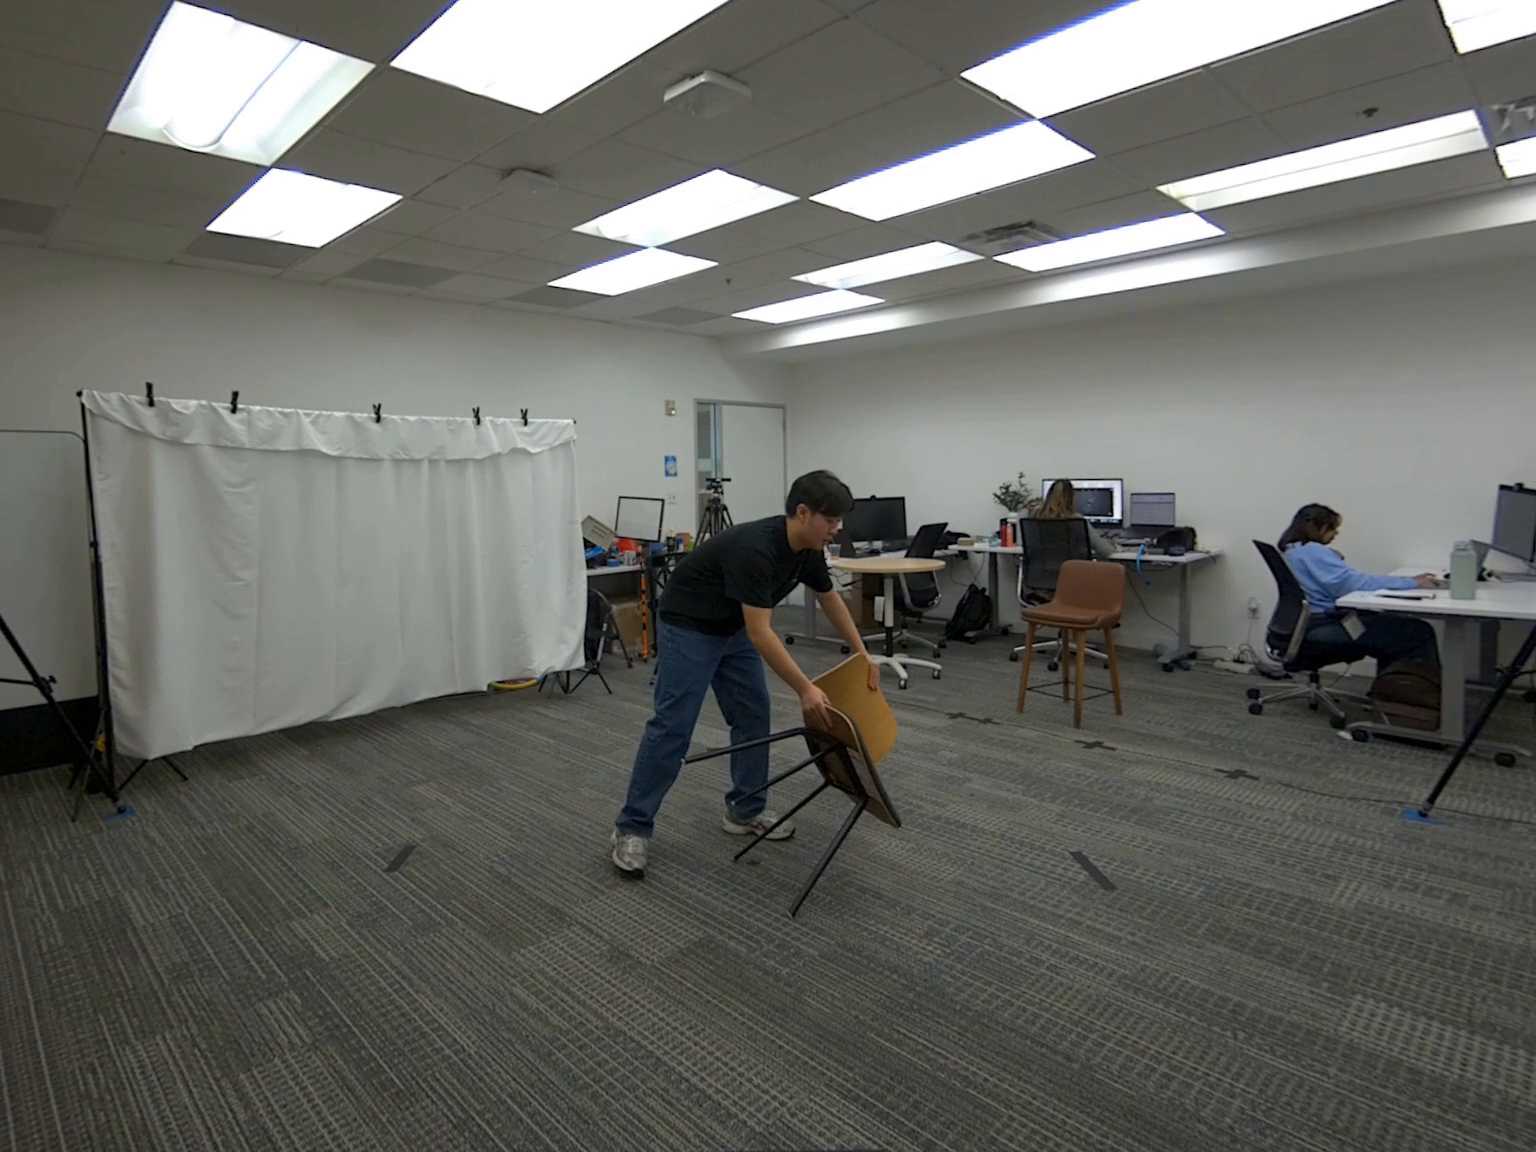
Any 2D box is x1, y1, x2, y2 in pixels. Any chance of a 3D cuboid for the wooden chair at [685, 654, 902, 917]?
[{"bbox_3d":[0.236,0.667,2.993,0.870,0.470,0.536,-32,17,-24],"label":"wooden chair"}]
